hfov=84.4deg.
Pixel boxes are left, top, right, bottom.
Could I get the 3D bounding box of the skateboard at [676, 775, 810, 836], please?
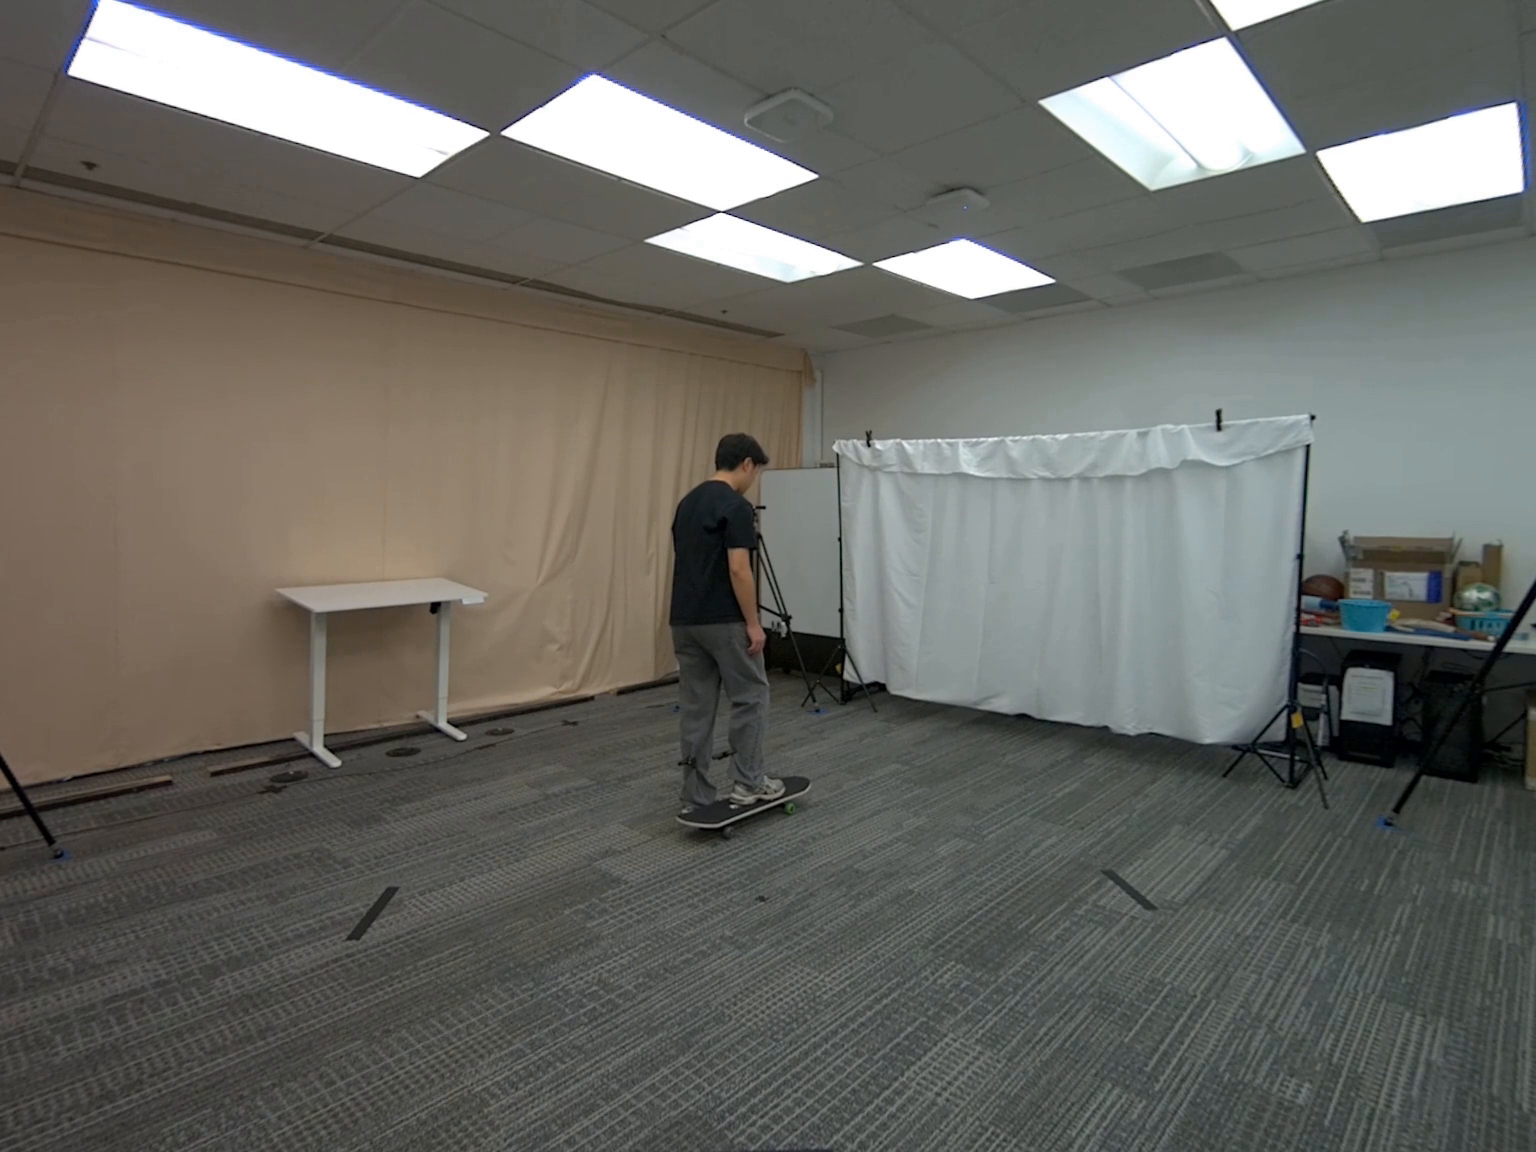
[{"bbox_3d":[-0.086,1.035,3.717,0.200,0.110,0.762,4,7,42],"label":"skateboard"}]
